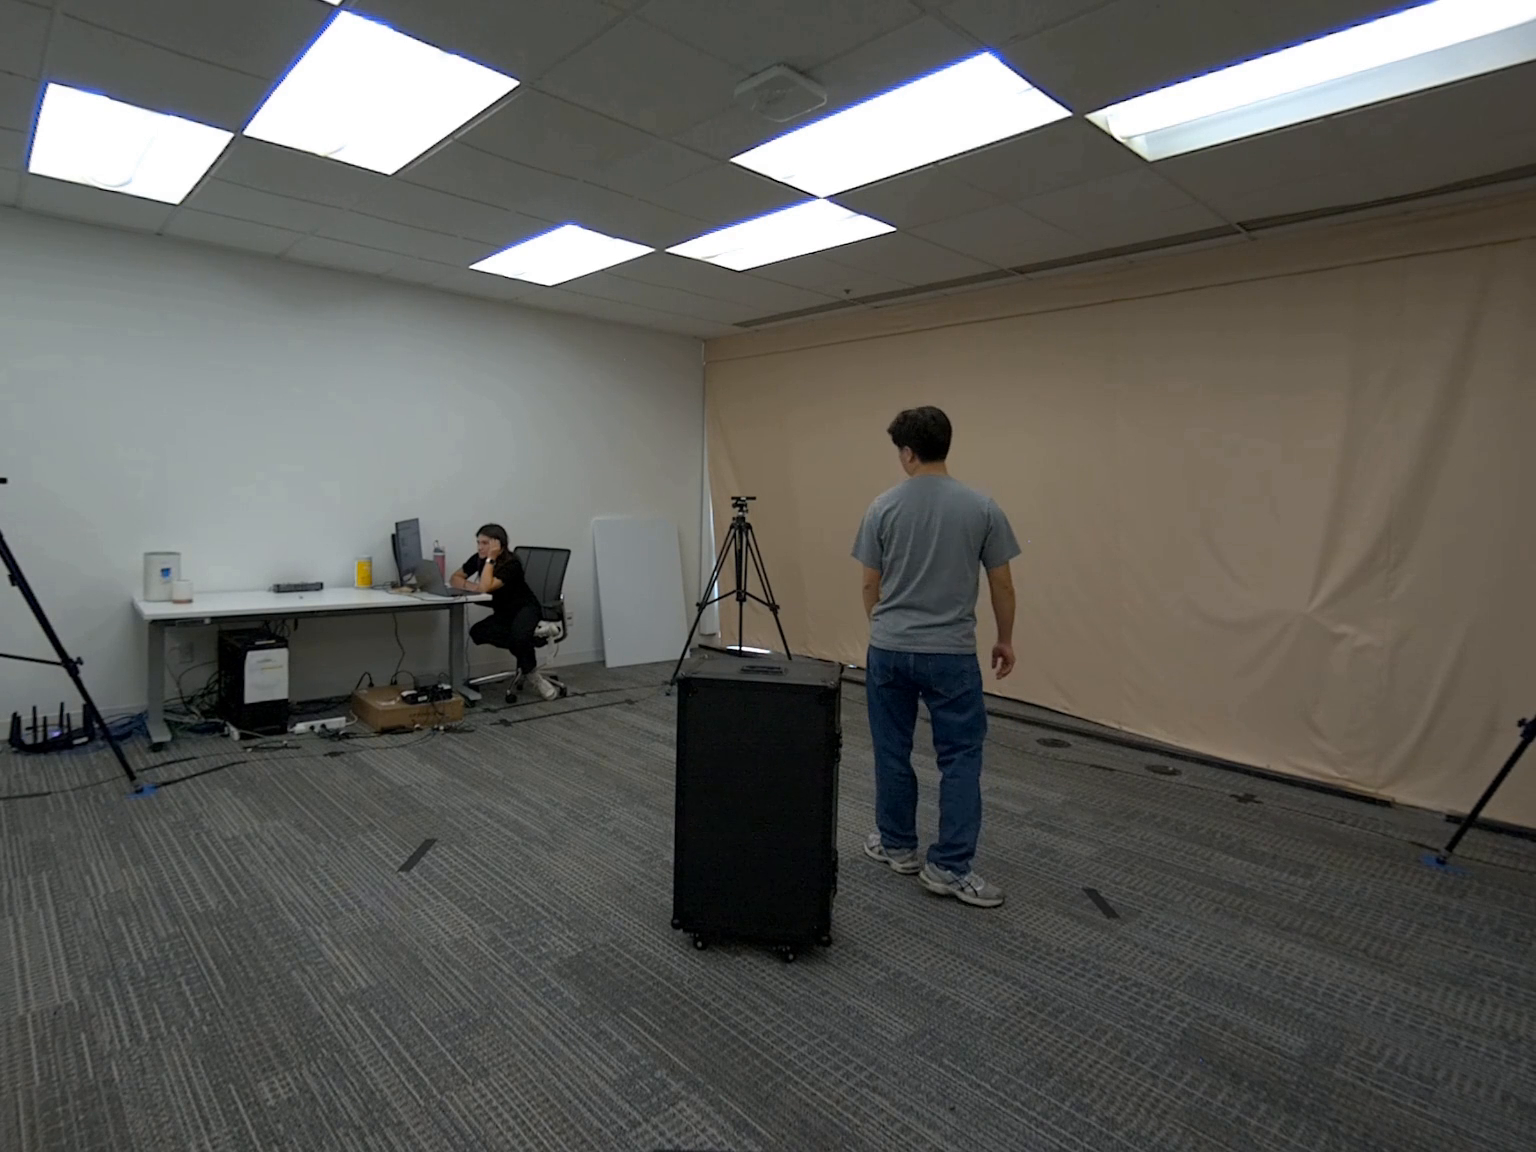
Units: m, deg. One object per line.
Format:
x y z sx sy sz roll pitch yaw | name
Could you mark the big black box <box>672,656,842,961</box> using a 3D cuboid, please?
-0.033 0.720 2.694 0.526 0.860 0.393 1 2 10 | big black box
